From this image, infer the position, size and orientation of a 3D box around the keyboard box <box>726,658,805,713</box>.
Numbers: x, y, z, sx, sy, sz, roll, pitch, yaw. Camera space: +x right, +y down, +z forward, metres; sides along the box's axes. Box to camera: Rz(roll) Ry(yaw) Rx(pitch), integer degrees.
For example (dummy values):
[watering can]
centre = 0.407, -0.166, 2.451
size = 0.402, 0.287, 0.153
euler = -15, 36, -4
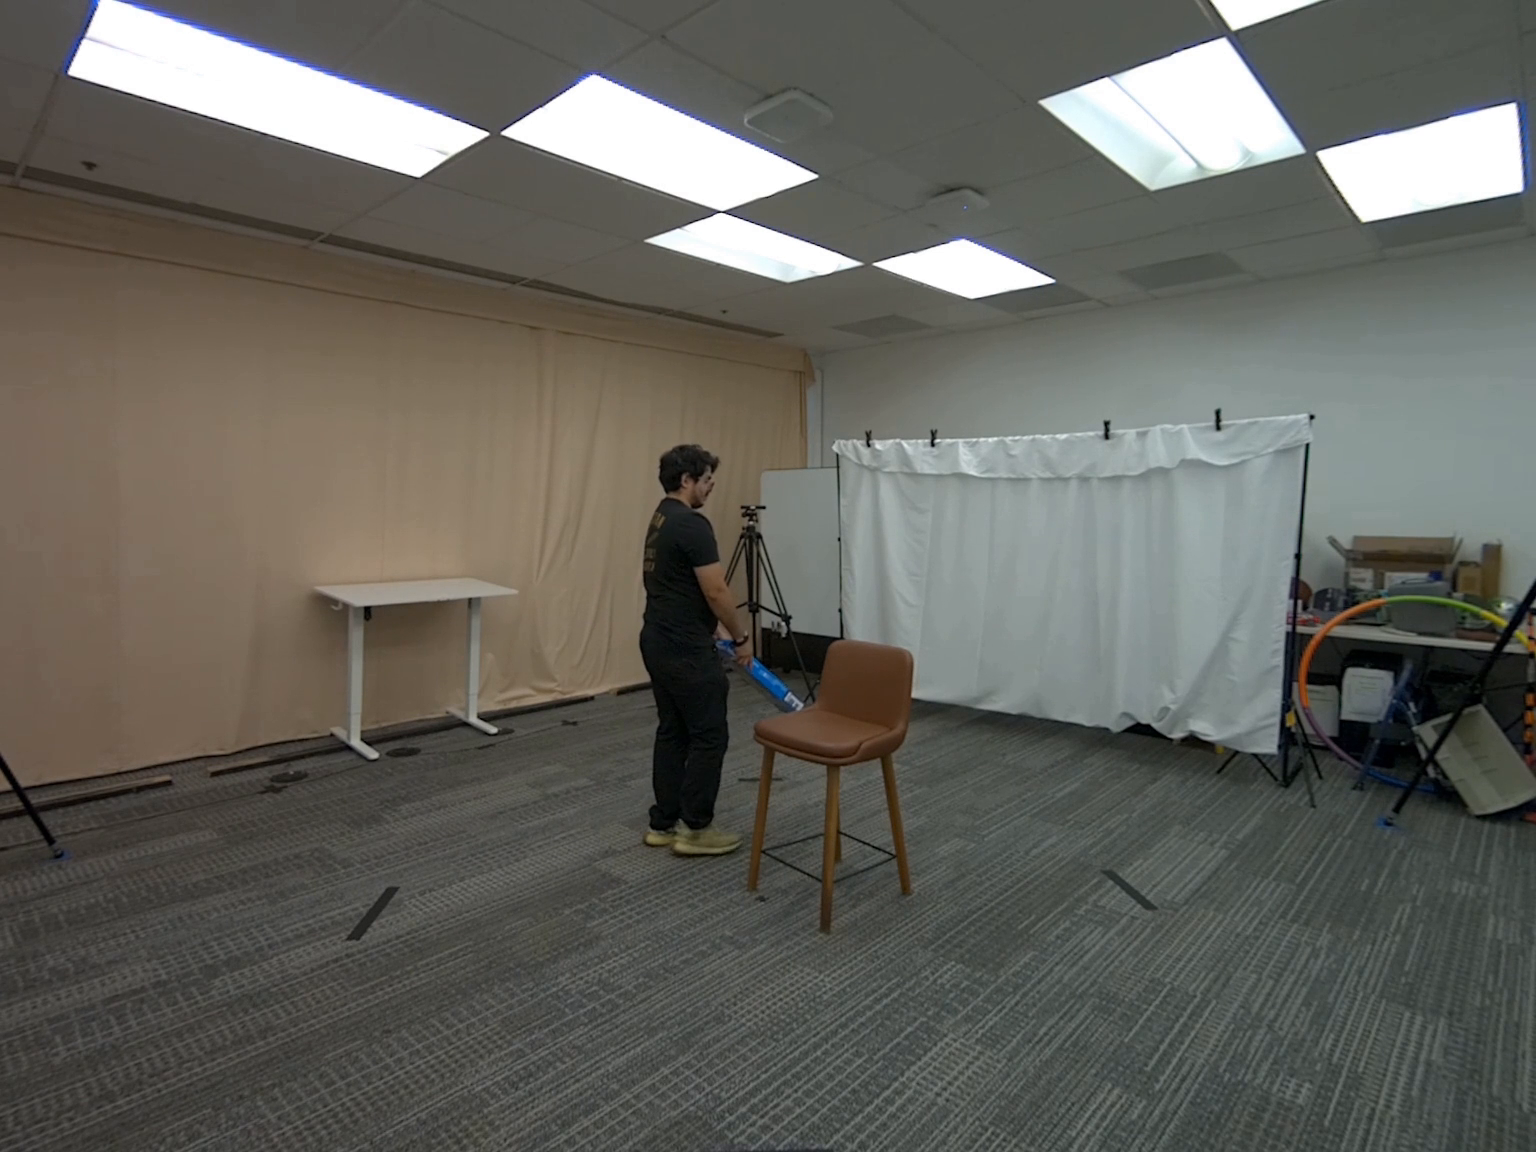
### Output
[keyboard box]
centre = -0.036, 0.435, 3.591
size = 0.430, 0.059, 0.179
euler = 43, -19, -12
